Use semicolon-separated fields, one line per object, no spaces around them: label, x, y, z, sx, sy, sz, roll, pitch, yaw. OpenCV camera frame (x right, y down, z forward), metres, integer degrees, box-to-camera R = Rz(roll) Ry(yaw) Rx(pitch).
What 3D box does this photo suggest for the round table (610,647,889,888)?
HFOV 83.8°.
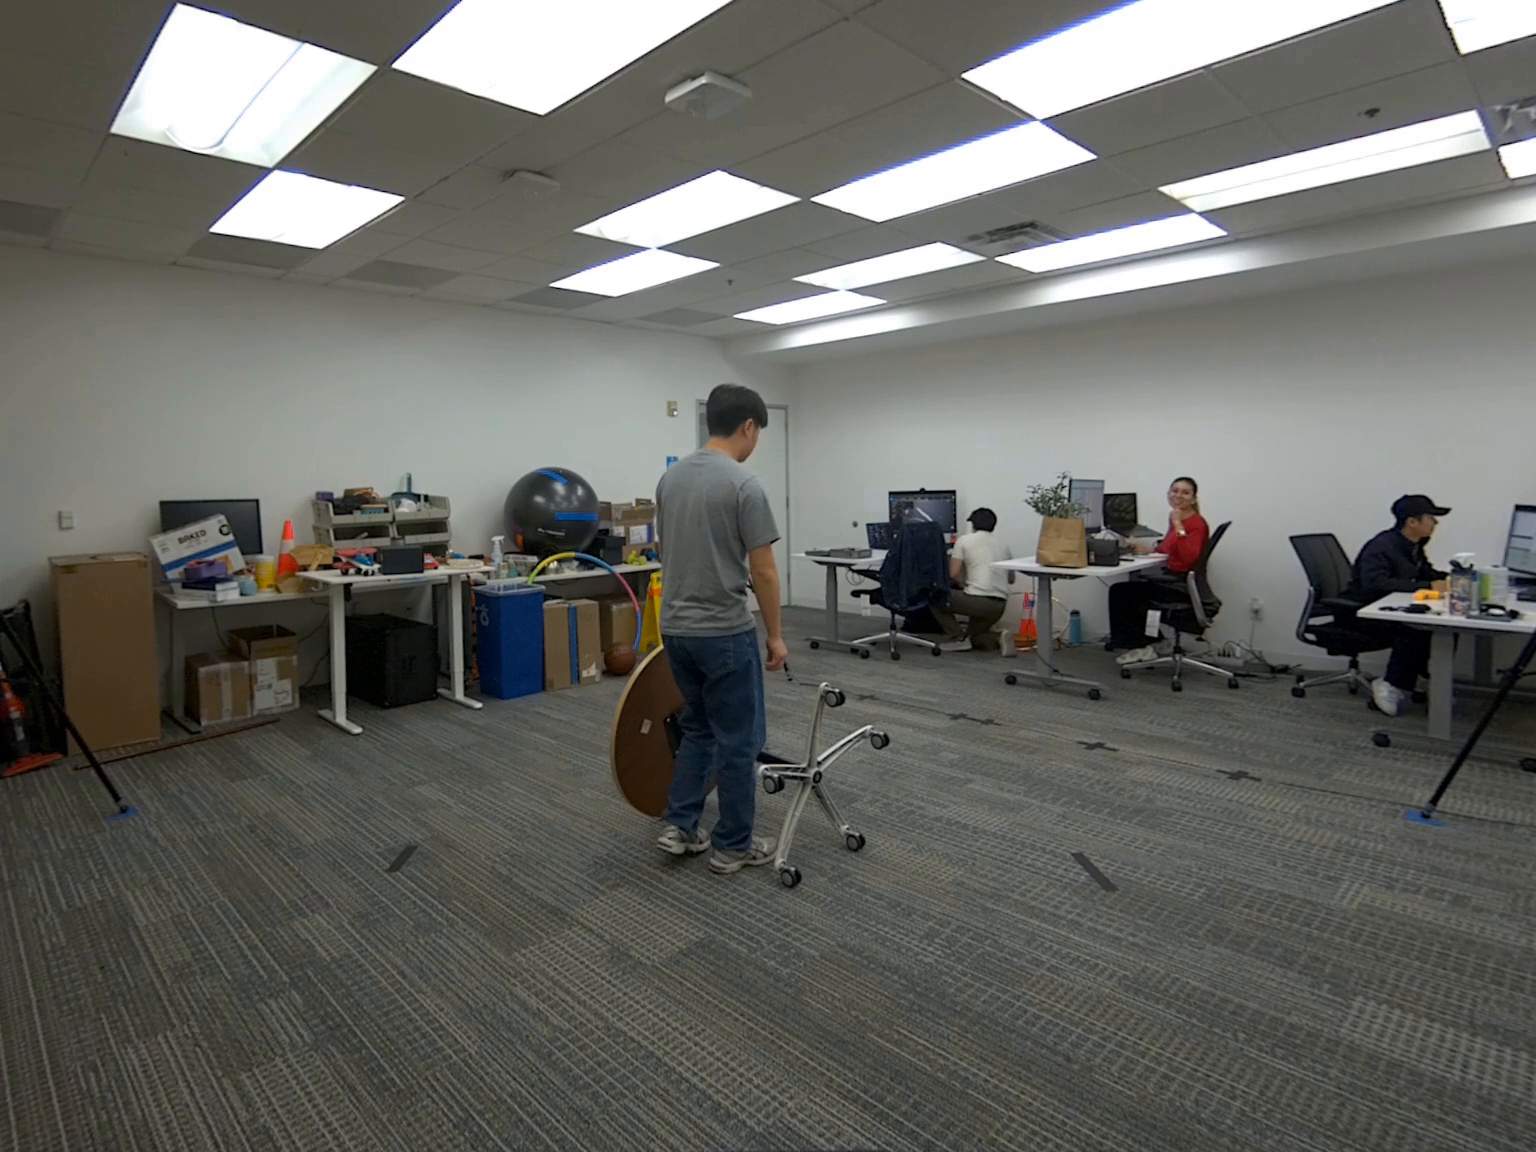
round table;-0.051;0.684;3.298;0.821;0.759;0.744;11;11;41
